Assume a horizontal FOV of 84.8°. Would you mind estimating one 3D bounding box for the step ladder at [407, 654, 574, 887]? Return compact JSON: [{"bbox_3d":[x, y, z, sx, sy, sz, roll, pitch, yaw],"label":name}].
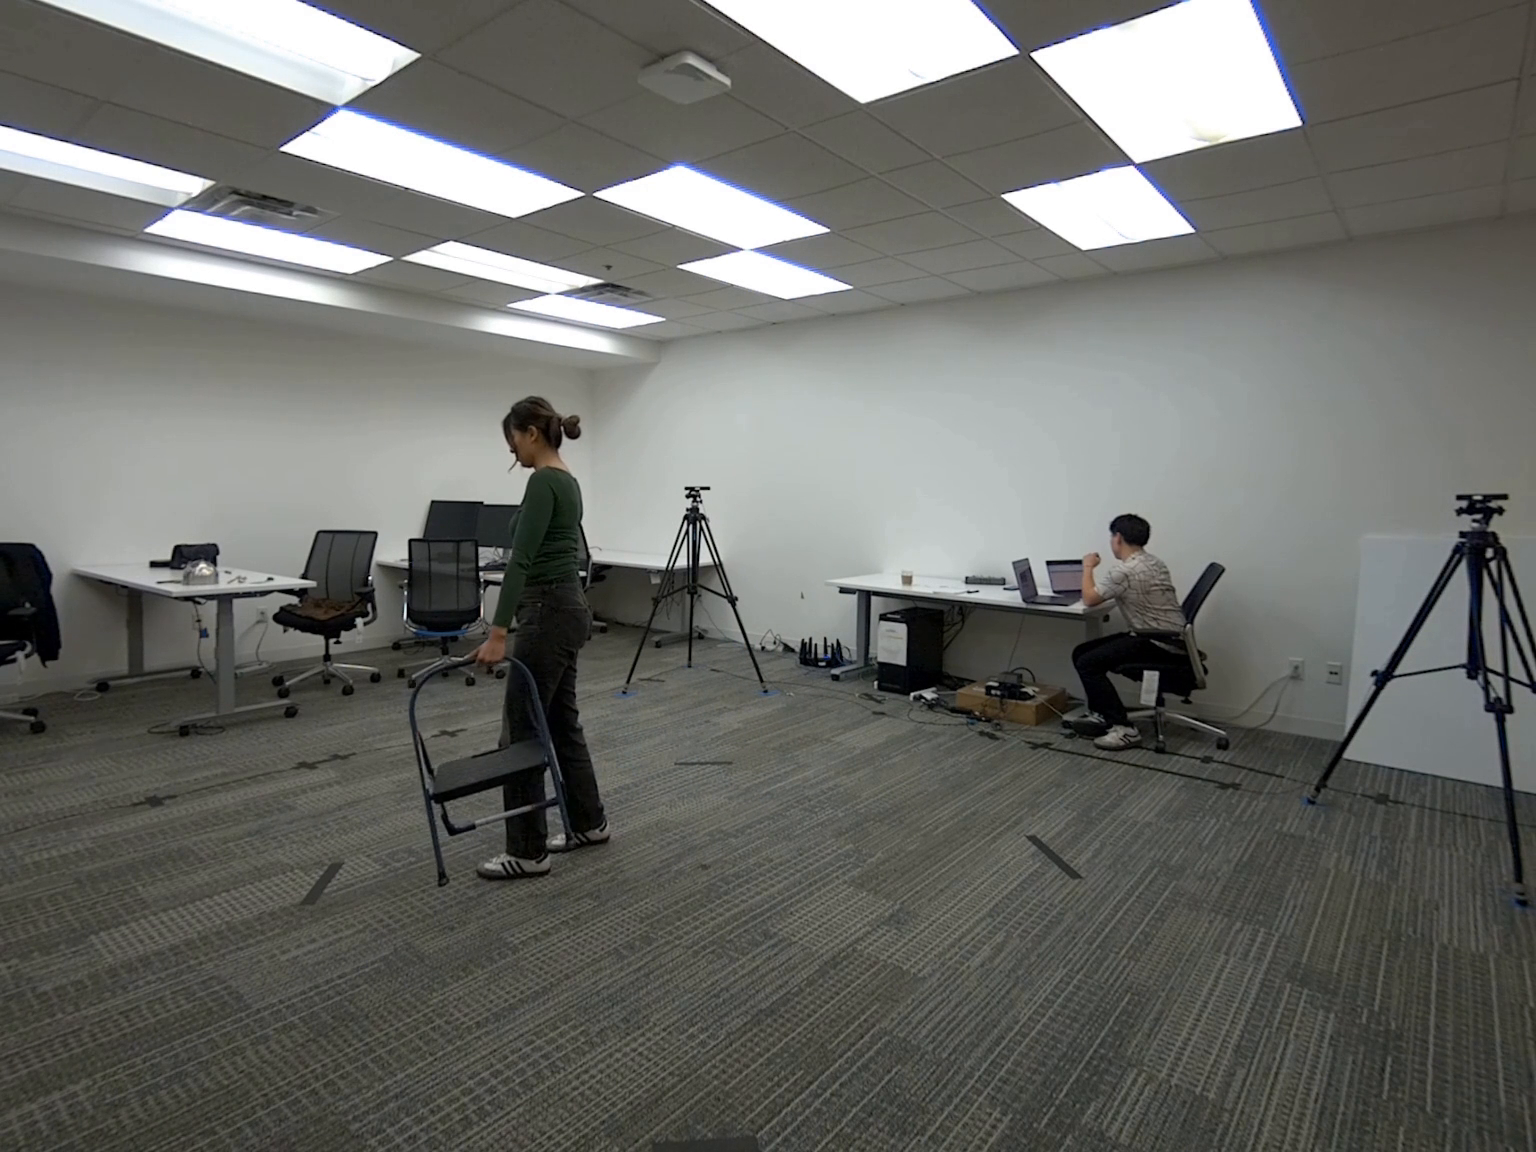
[{"bbox_3d":[-0.934,0.580,2.746,0.426,0.600,0.357,-13,10,-13],"label":"step ladder"}]
